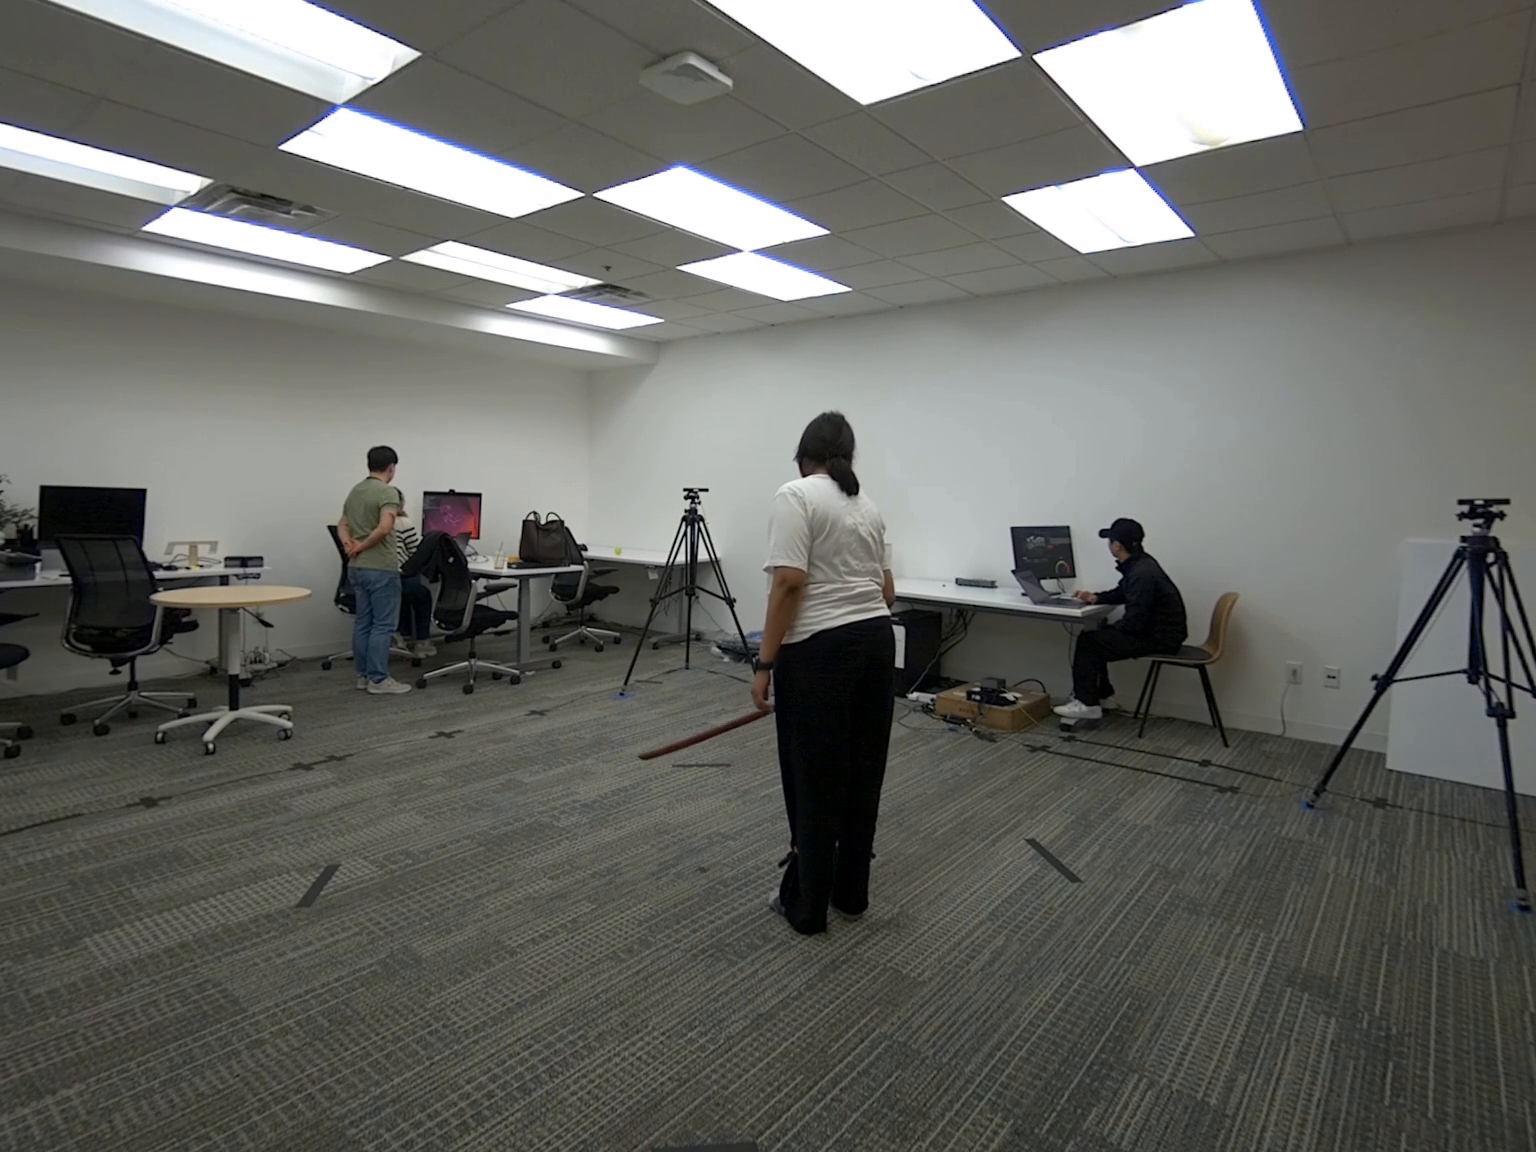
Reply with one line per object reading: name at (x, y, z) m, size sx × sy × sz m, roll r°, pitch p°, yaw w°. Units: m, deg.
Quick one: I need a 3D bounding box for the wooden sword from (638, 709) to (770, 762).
wooden sword at (-0.145, 0.554, 3.206) m, size 1.038 × 0.050 × 0.024 m, roll -25°, pitch 26°, yaw 28°
